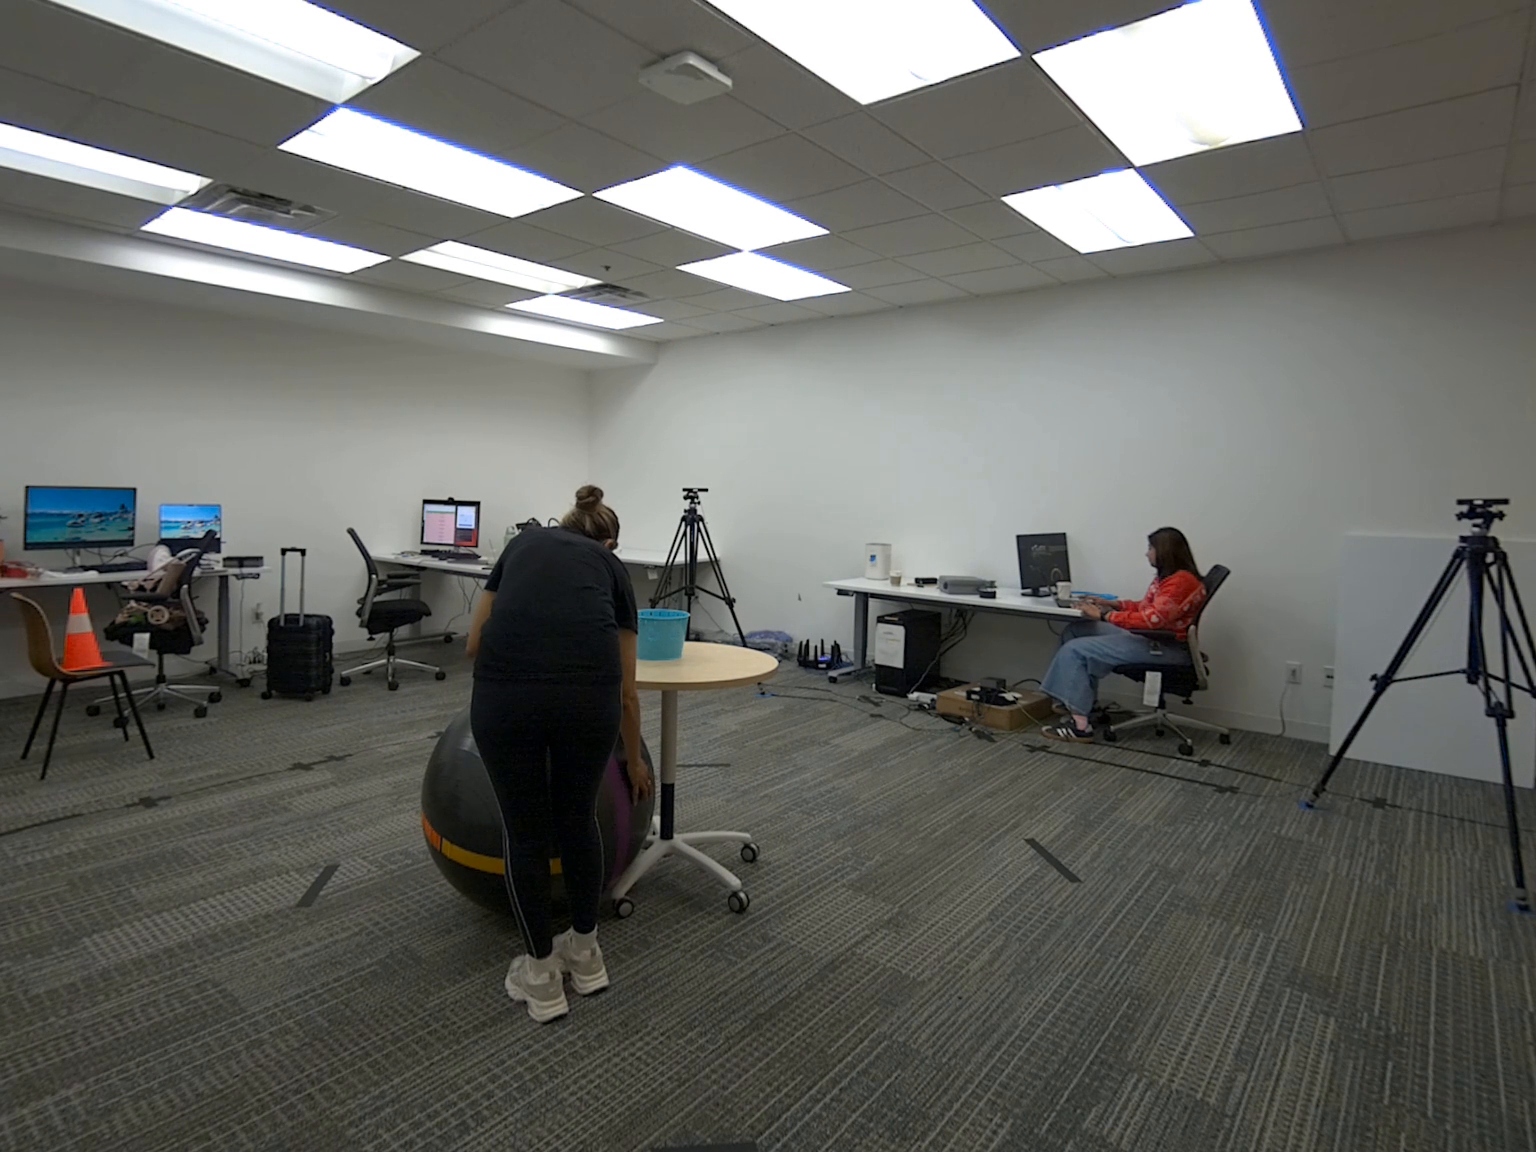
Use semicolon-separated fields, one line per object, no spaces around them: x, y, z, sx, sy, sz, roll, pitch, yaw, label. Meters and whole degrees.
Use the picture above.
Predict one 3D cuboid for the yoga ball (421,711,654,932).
-0.775;0.724;2.811;0.757;0.756;0.761;1;4;-2;yoga ball
